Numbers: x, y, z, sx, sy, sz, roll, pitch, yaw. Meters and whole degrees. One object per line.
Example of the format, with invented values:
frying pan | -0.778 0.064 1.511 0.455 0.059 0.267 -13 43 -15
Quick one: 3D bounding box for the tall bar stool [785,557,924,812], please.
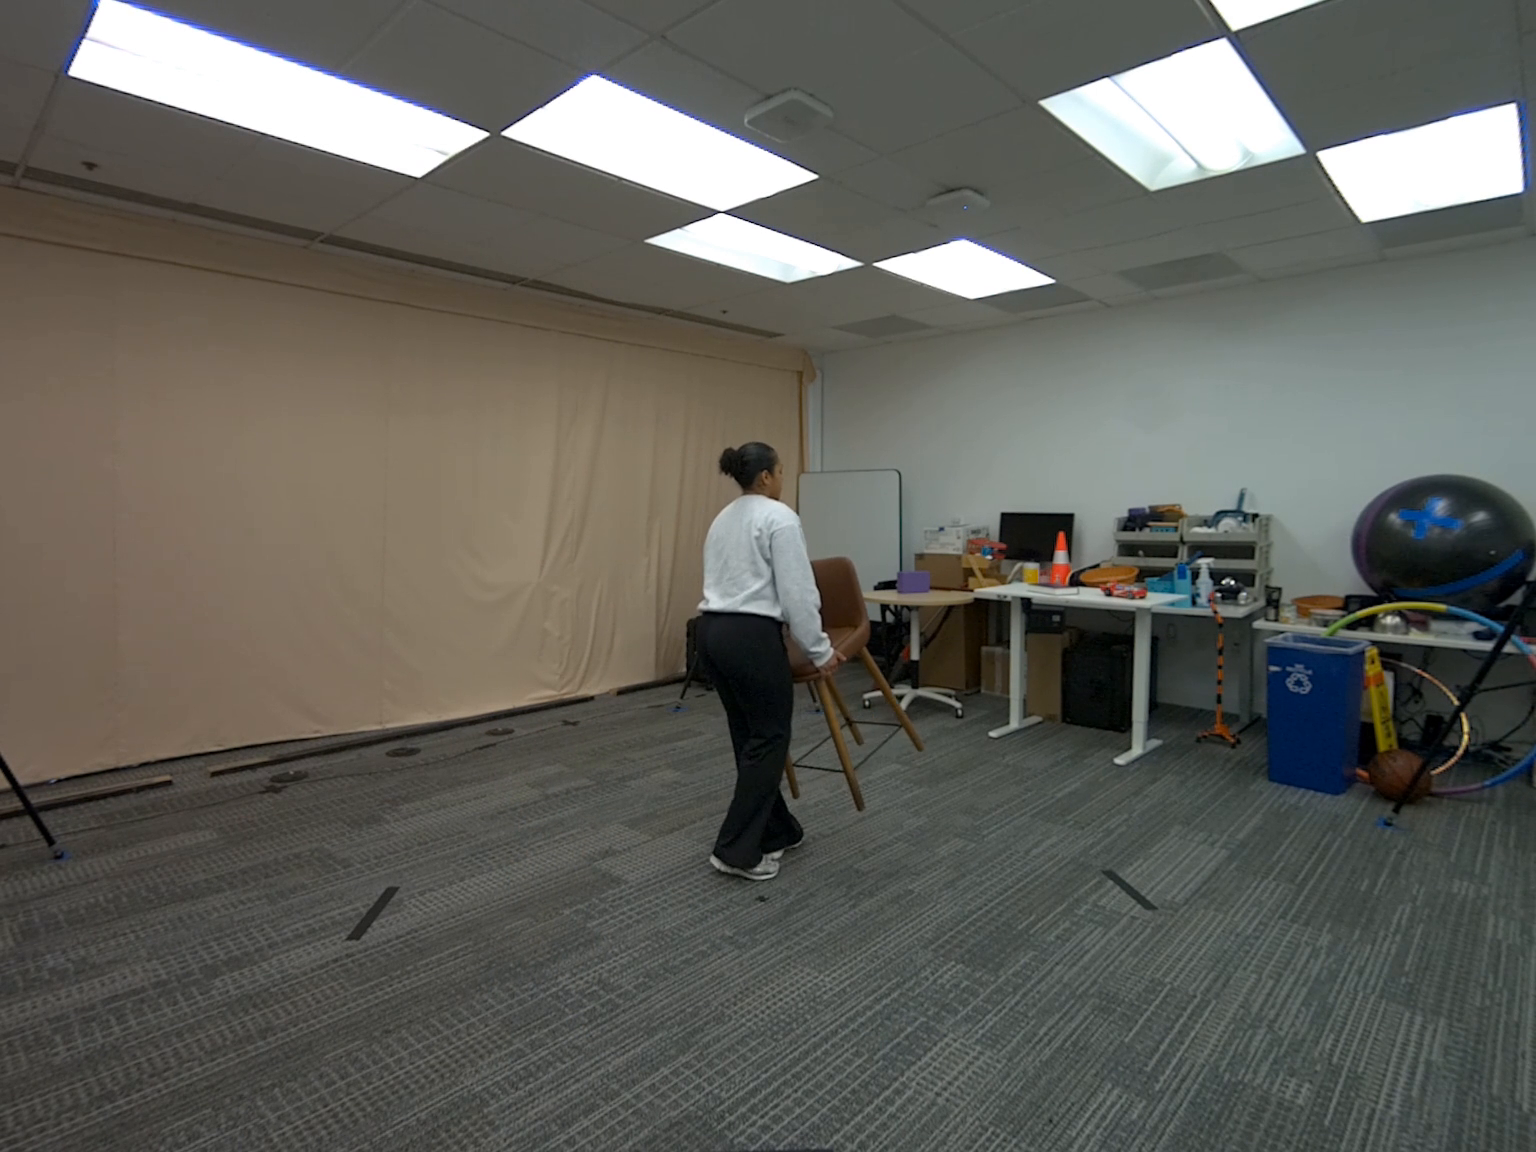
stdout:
tall bar stool | 0.229 0.430 3.437 0.458 0.882 0.469 -27 11 -38
